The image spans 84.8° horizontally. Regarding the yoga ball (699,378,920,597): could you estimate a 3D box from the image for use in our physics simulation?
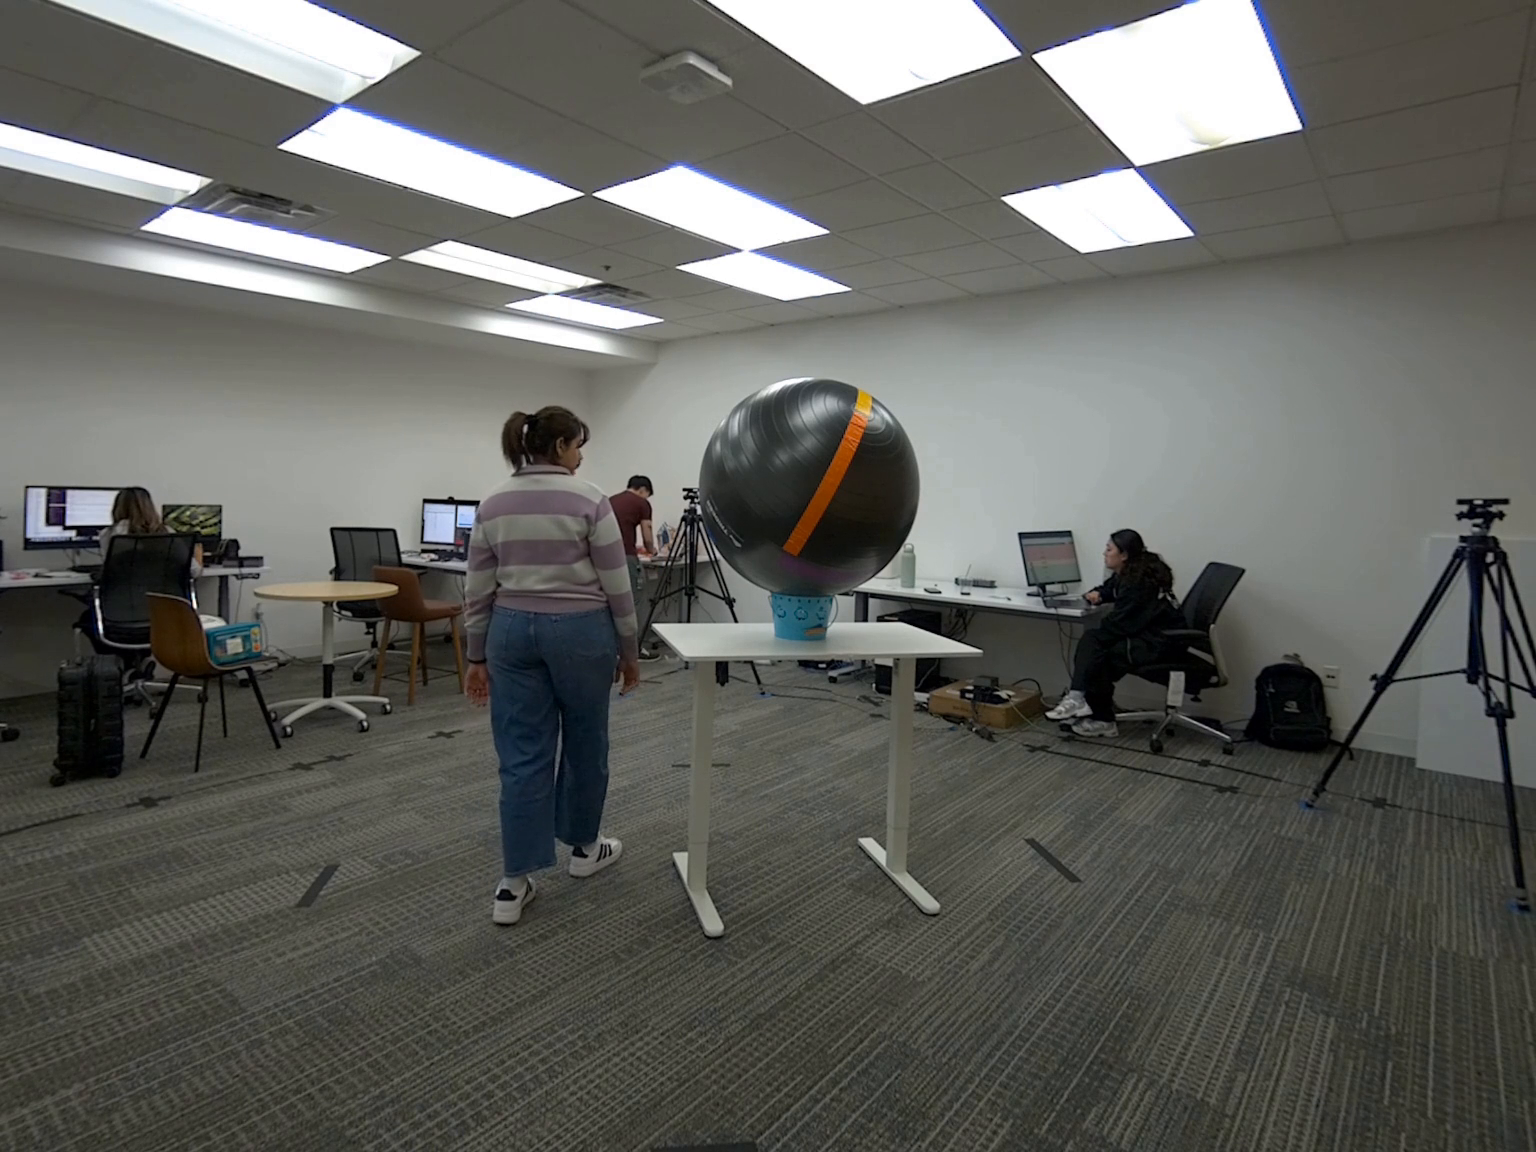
[{"bbox_3d":[0.141,-0.303,2.941,0.757,0.755,0.762,1,4,-2],"label":"yoga ball"}]
